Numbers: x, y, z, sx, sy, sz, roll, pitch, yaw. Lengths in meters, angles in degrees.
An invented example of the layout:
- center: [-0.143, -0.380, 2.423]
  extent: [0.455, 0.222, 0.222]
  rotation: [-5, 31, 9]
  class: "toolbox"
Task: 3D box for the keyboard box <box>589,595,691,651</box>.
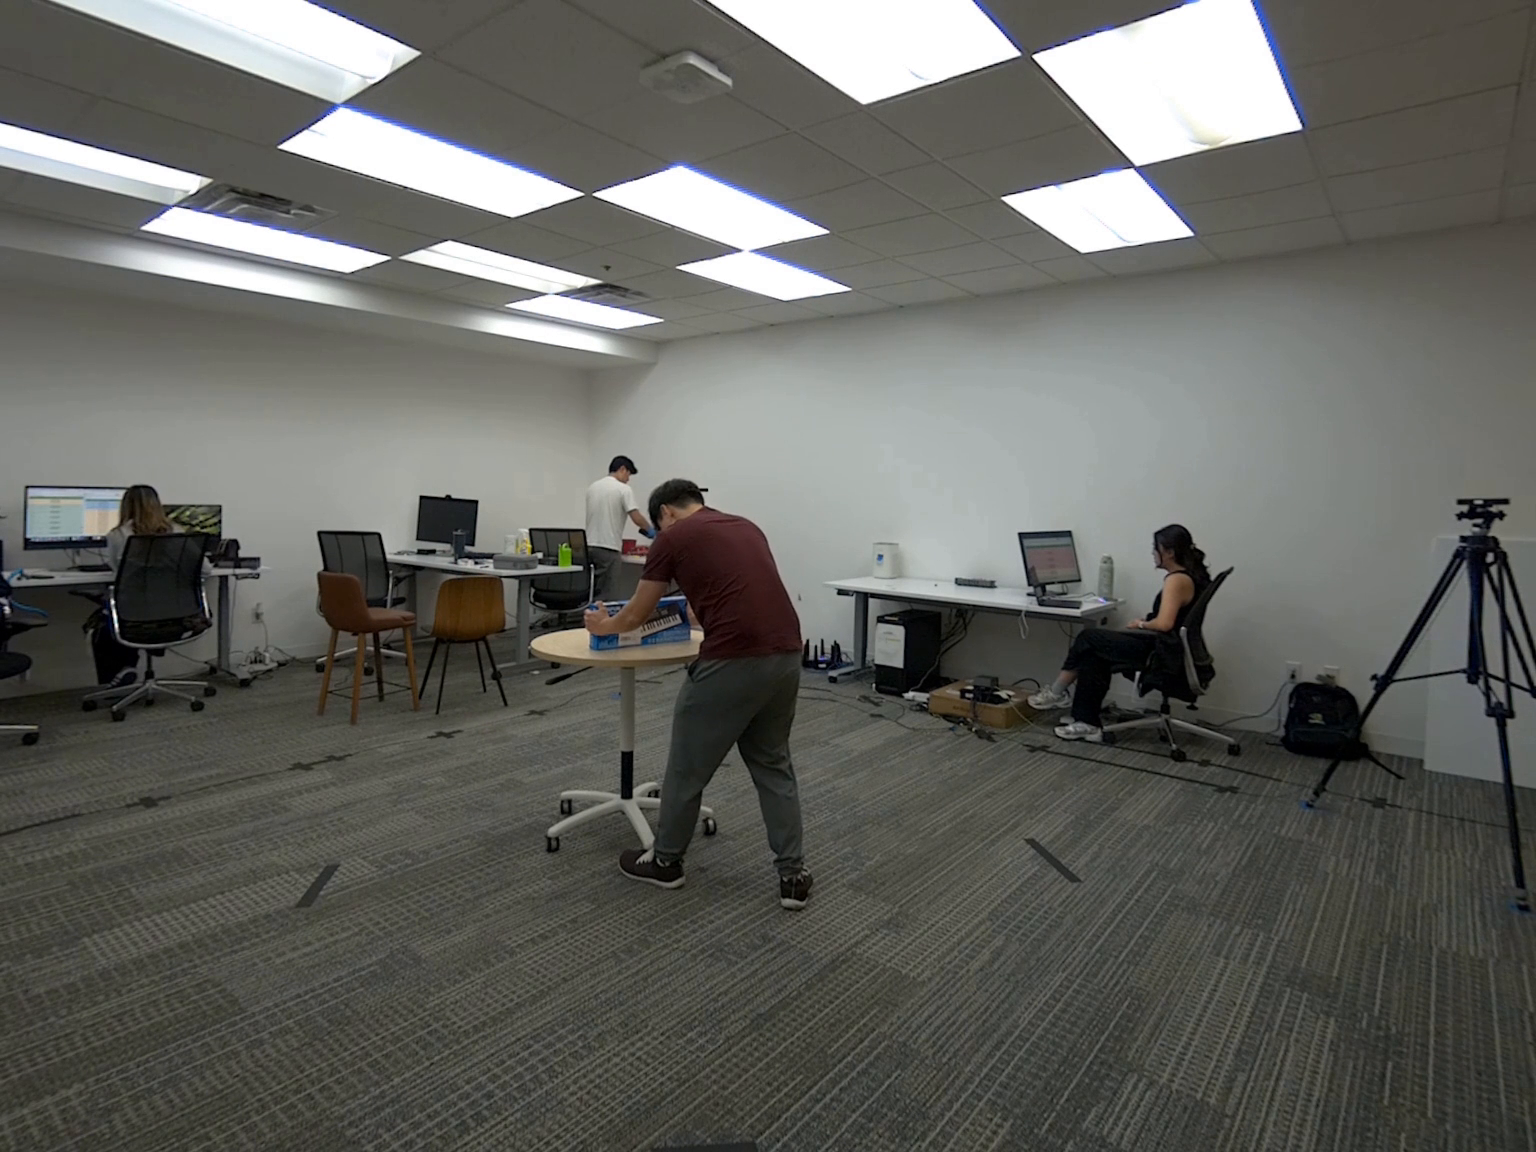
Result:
- center: [-0.513, 0.185, 3.350]
  extent: [0.424, 0.175, 0.061]
  rotation: [-4, 4, -38]
  class: "keyboard box"
